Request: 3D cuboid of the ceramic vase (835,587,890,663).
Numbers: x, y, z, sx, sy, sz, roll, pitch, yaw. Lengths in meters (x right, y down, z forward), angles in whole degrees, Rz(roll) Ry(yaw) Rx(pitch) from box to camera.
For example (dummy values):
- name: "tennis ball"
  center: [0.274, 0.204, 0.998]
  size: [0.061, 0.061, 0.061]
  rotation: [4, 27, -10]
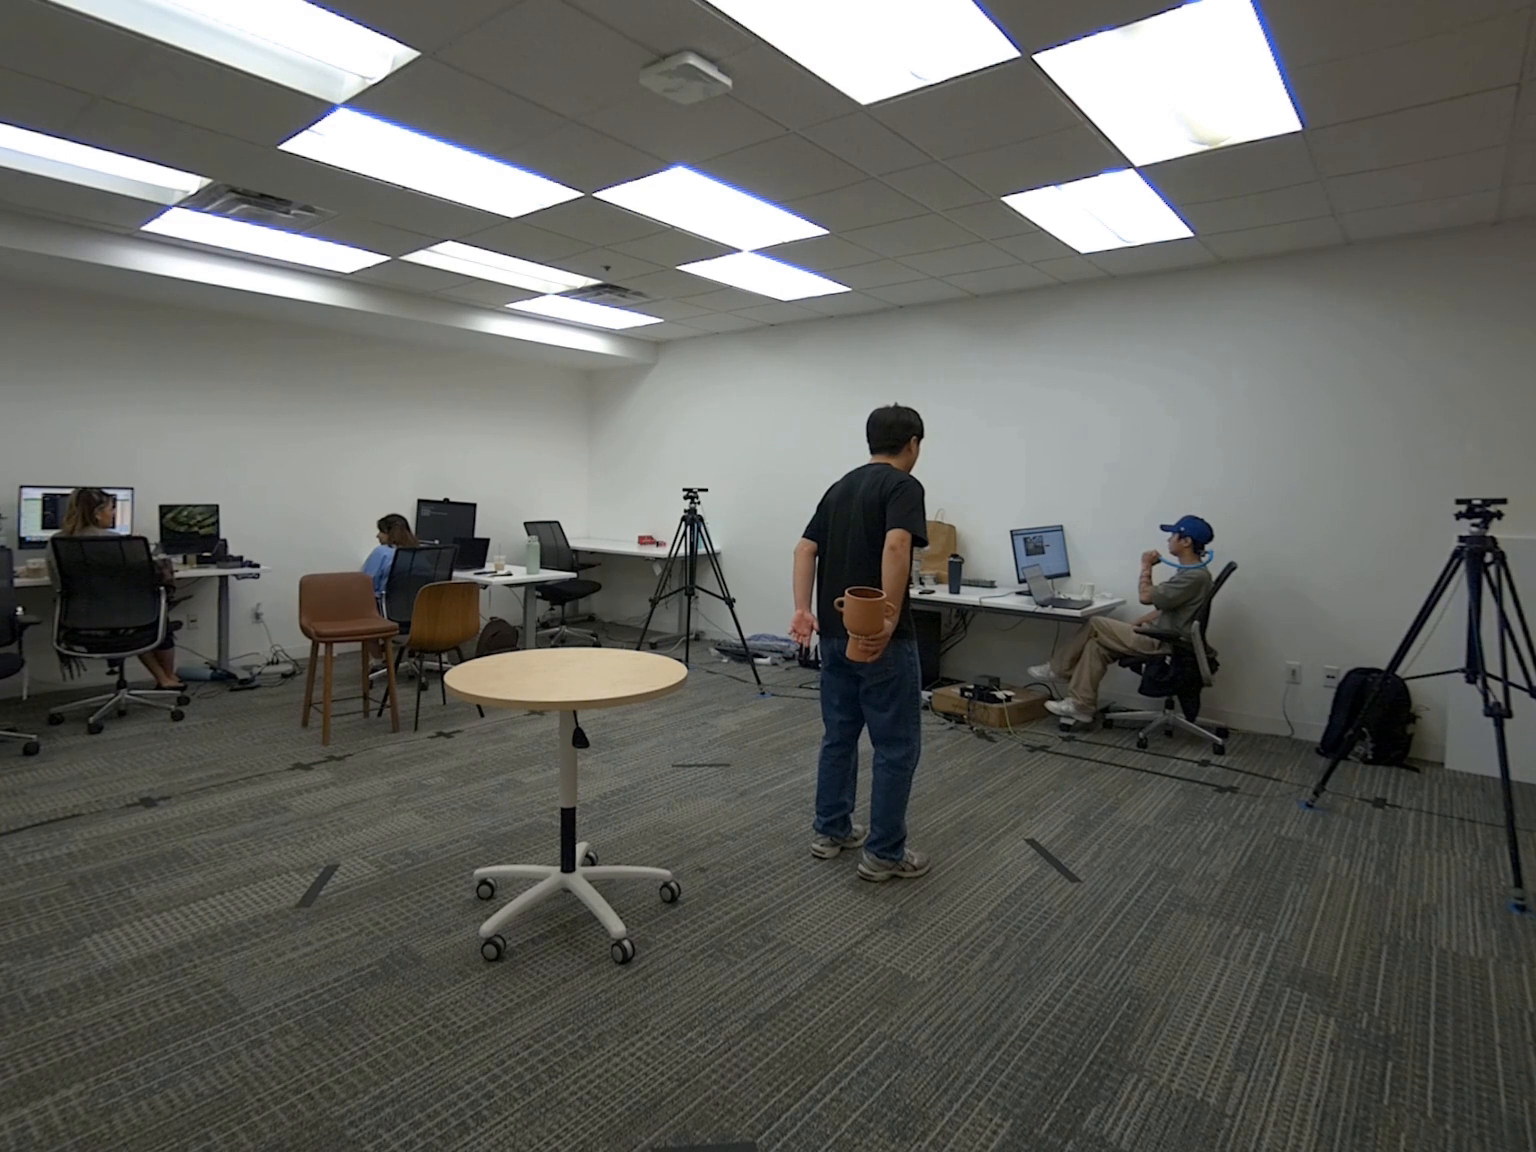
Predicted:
- name: "ceramic vase"
  center: [0.312, 0.153, 2.800]
  size: [0.131, 0.217, 0.165]
  rotation: [-11, 19, -40]
